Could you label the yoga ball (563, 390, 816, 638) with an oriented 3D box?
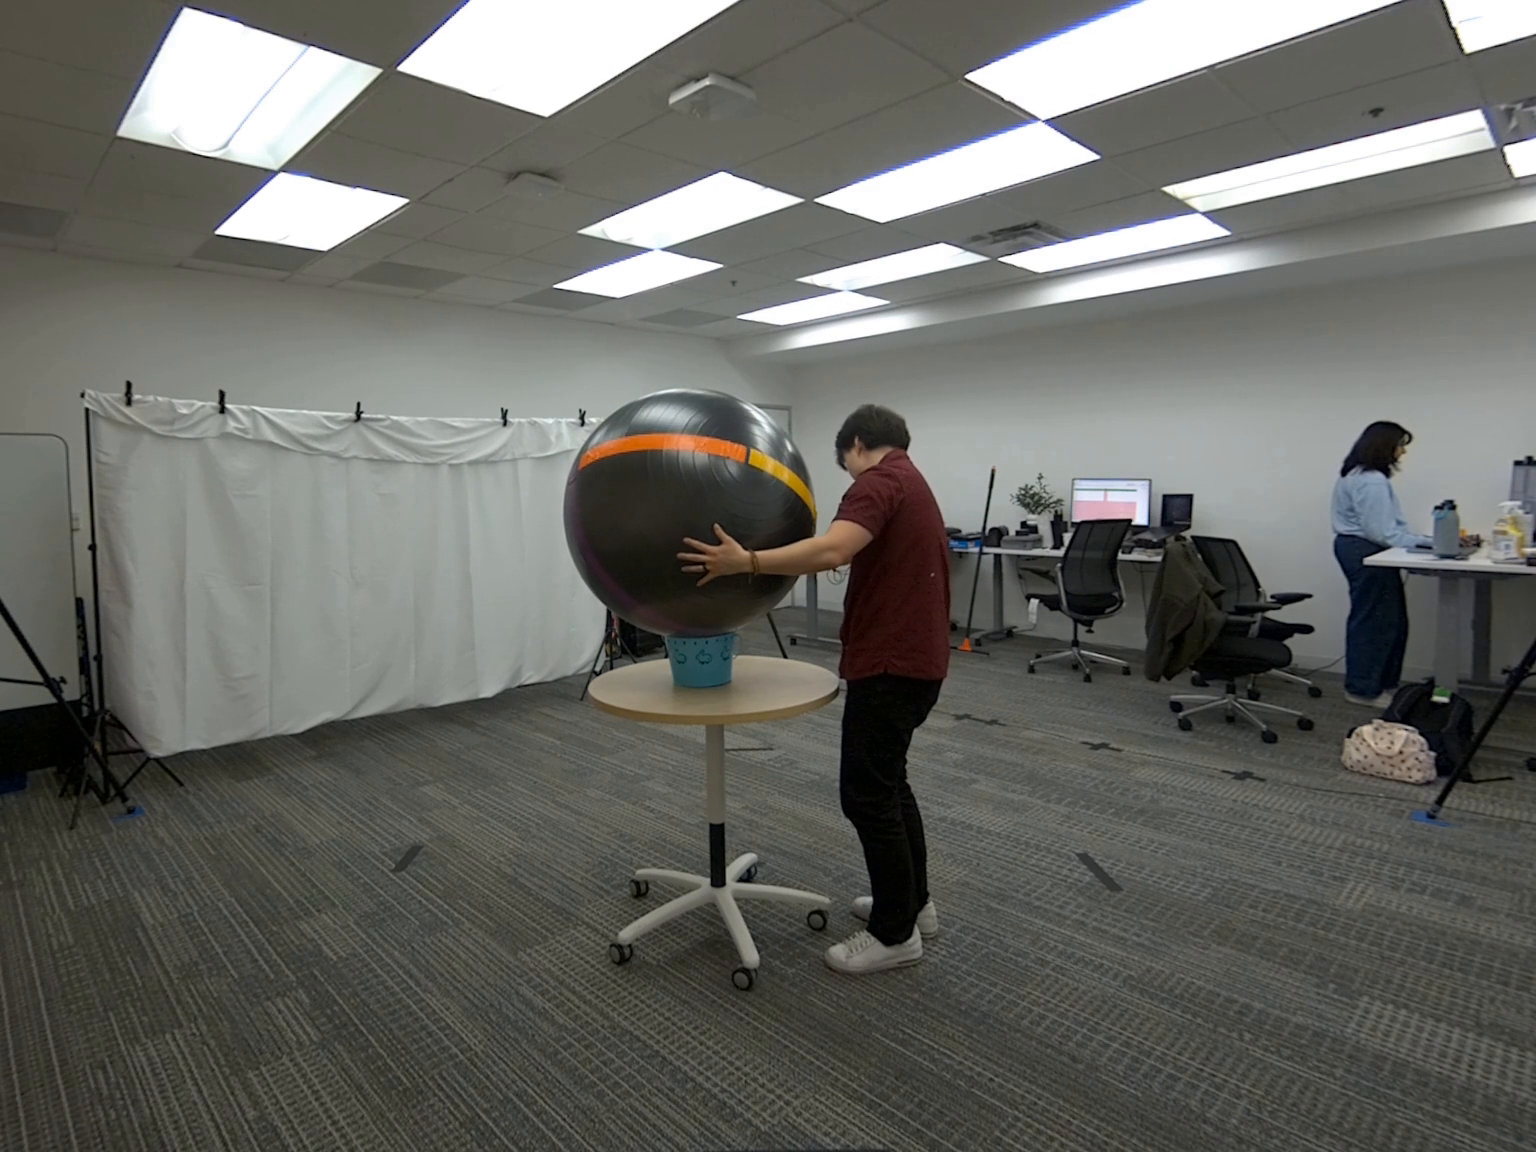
[{"bbox_3d":[-0.235,-0.184,2.596,0.757,0.755,0.762,-1,5,-2],"label":"yoga ball"}]
